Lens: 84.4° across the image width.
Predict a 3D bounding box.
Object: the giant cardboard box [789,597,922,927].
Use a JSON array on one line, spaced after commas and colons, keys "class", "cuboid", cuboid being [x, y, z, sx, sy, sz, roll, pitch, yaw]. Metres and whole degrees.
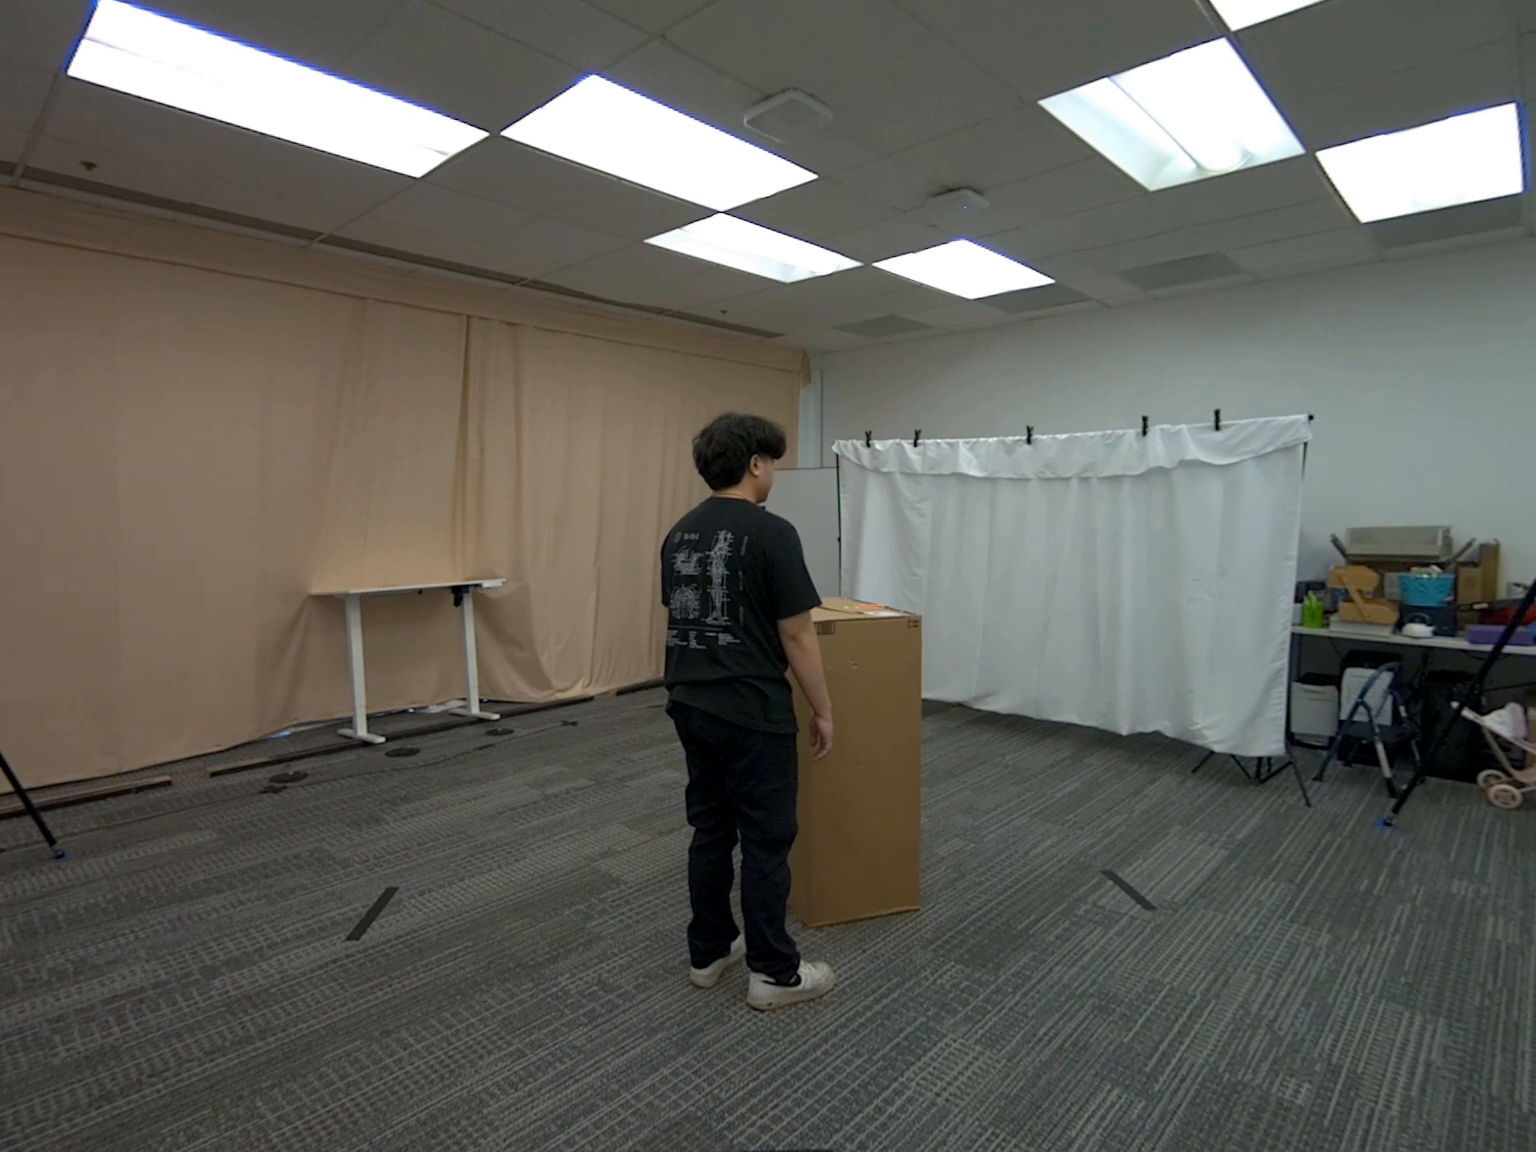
[{"class": "giant cardboard box", "cuboid": [0.230, 0.624, 3.080, 0.438, 1.025, 0.597, -1, 3, -21]}]
